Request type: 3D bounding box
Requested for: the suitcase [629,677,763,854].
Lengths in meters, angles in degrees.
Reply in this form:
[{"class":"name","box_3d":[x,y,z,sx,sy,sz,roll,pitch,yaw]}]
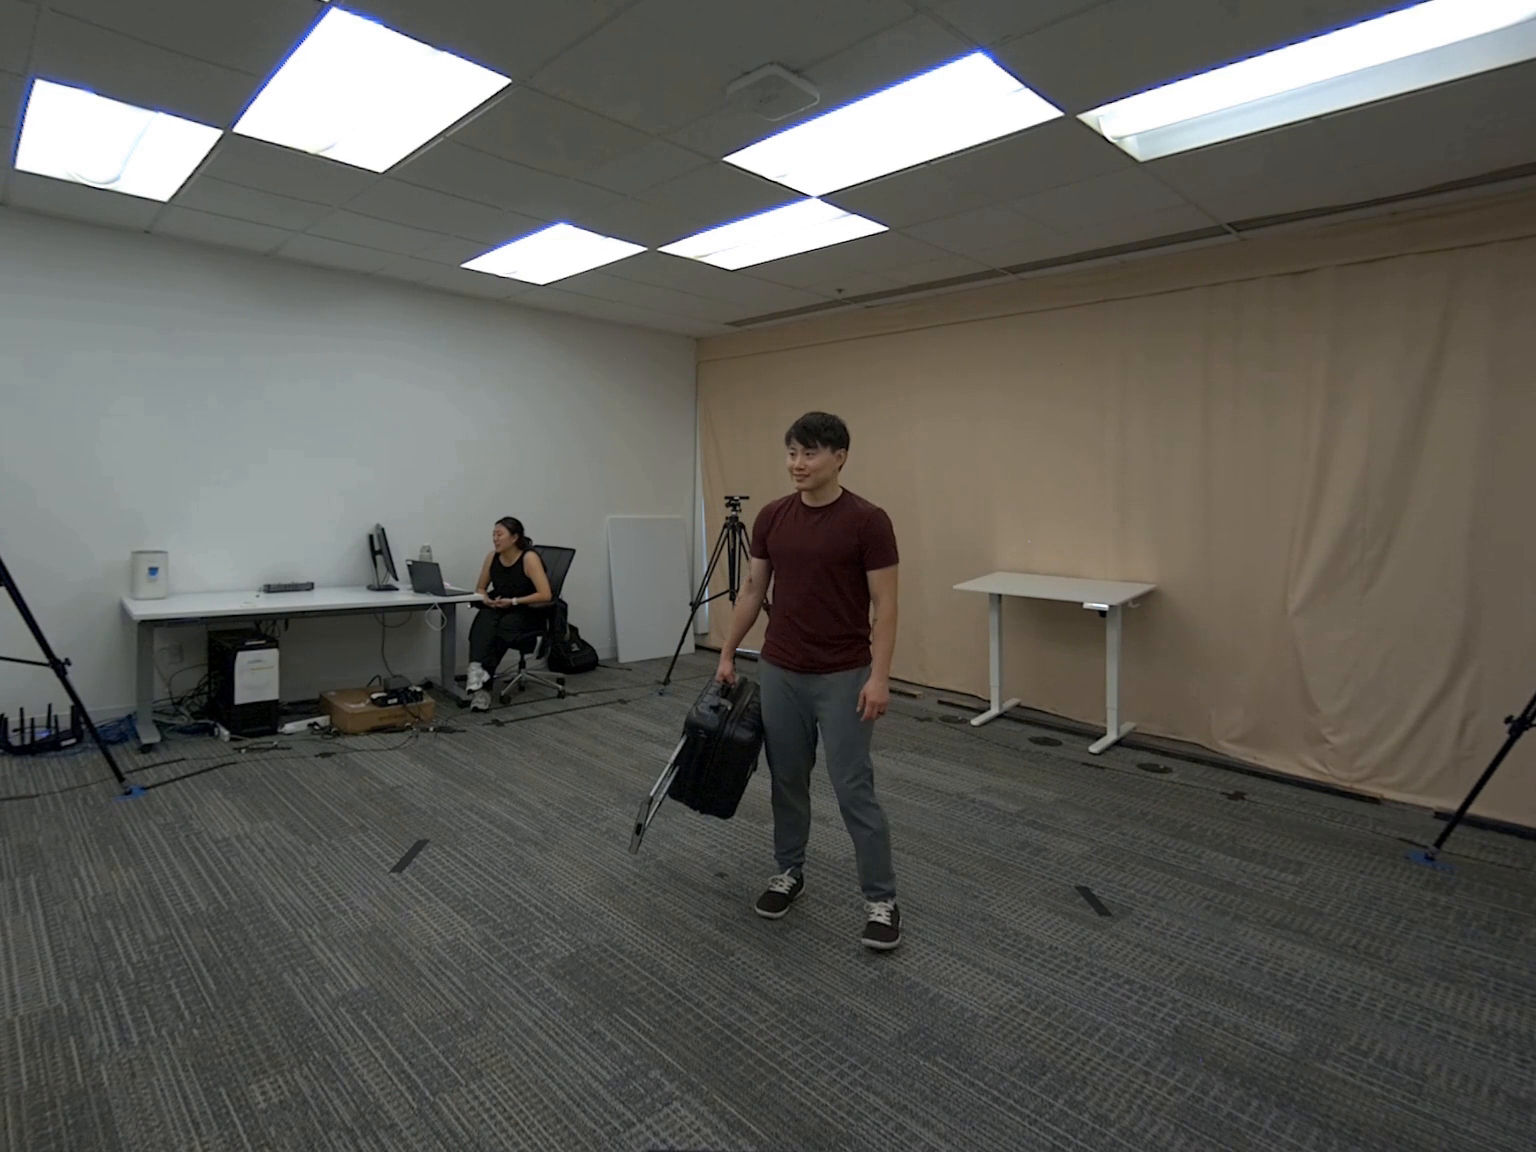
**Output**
[{"class":"suitcase","box_3d":[-0.186,0.618,2.765,0.258,0.382,0.978,18,12,4]}]
